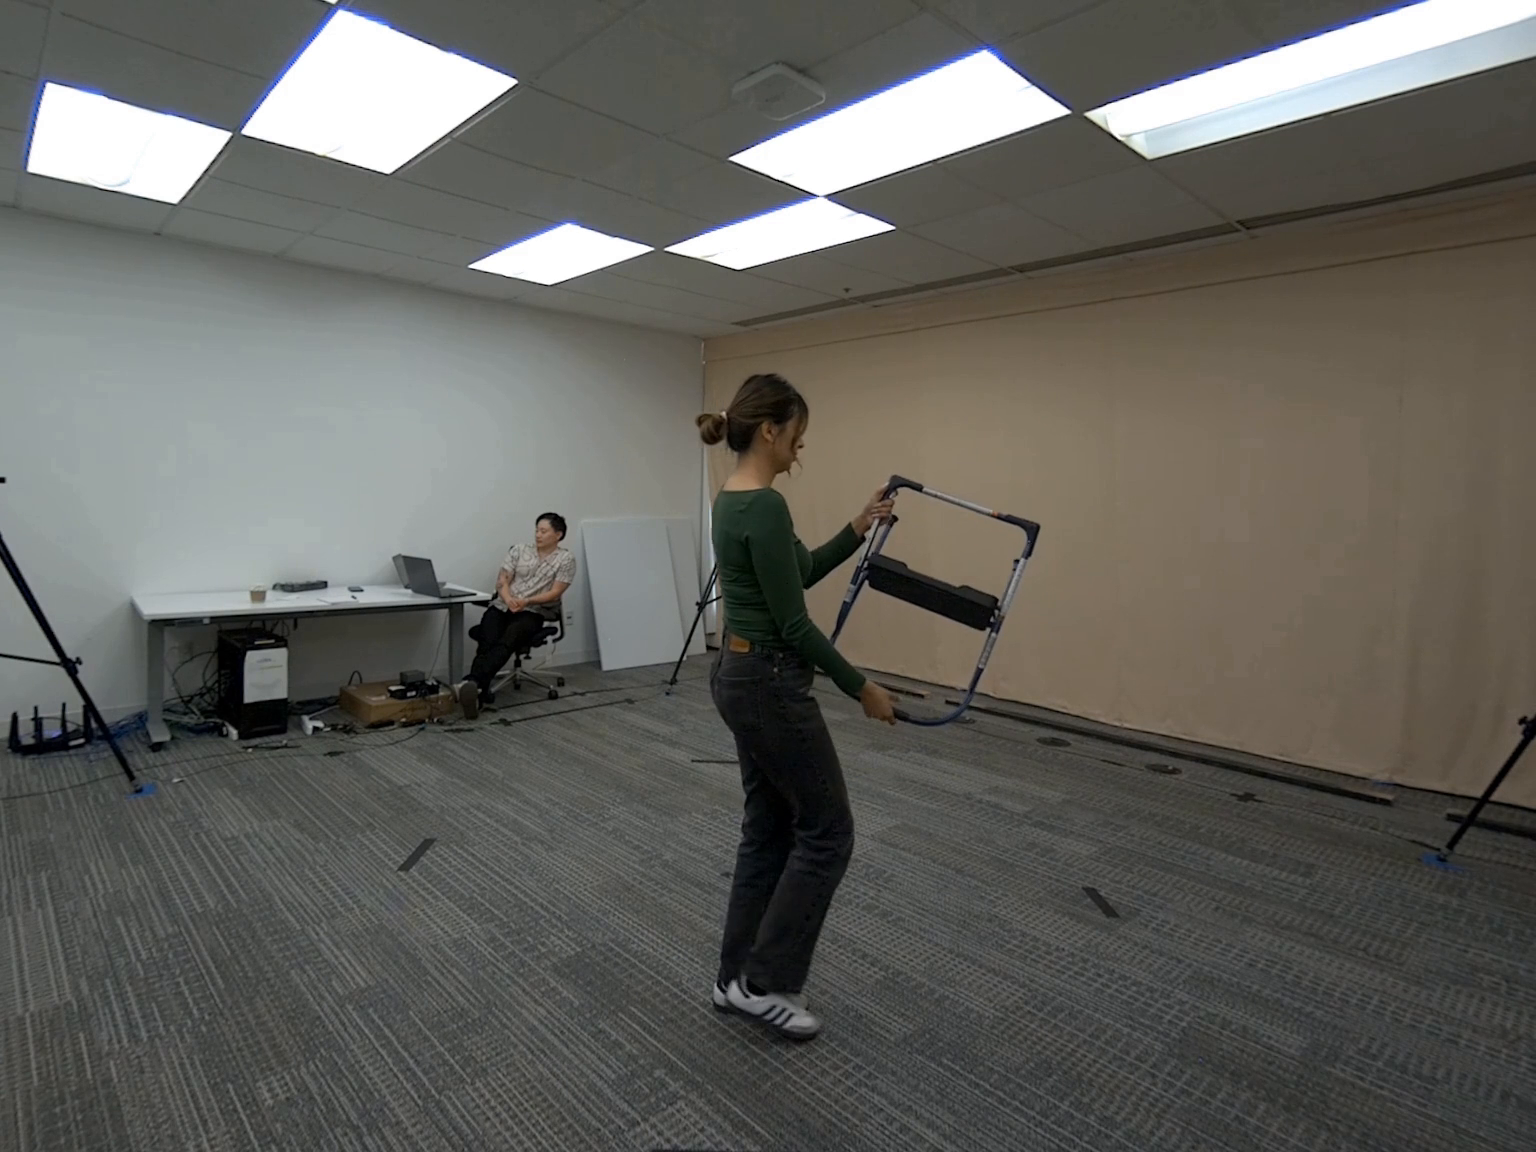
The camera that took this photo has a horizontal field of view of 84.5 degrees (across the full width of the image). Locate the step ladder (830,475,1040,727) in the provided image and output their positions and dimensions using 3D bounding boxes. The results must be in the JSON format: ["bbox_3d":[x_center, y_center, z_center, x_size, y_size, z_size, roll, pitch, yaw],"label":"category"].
[{"bbox_3d":[0.422,0.109,2.337,0.438,0.609,0.342,21,-15,16],"label":"step ladder"}]
